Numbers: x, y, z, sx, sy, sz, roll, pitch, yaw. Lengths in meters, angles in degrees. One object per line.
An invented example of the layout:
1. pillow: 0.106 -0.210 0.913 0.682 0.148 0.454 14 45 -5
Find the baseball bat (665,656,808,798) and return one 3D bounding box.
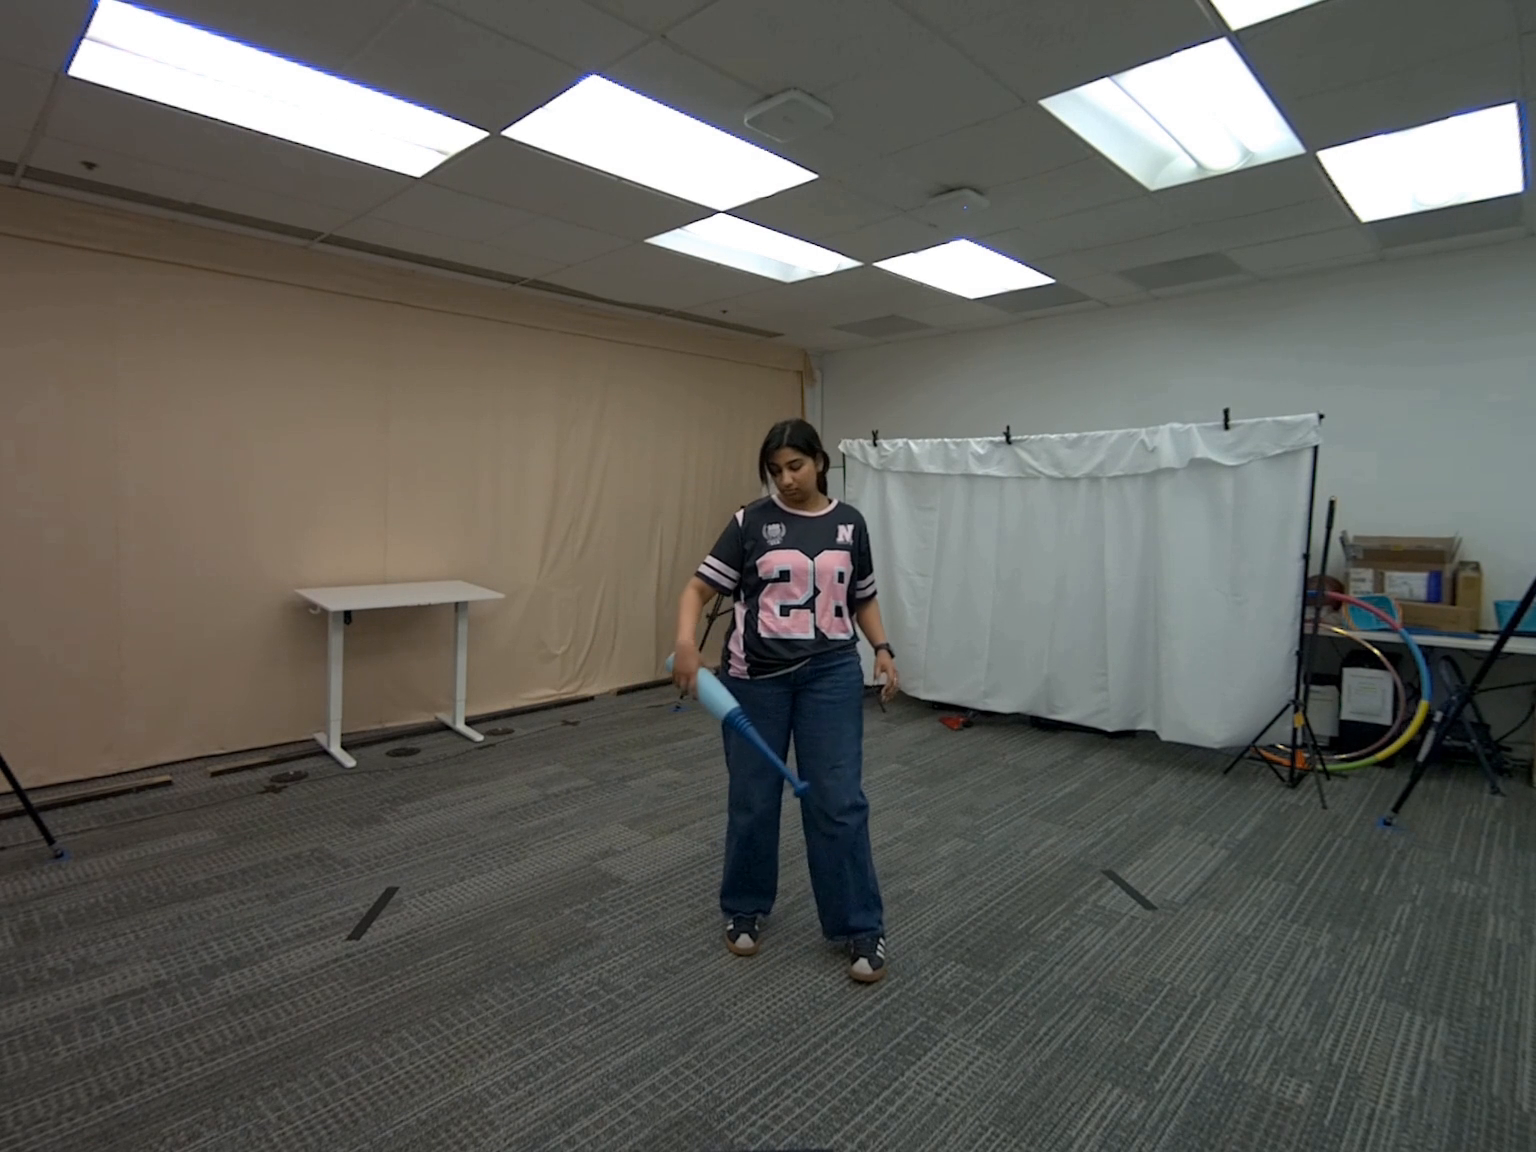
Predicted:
1. baseball bat: -0.078 0.401 2.330 0.559 0.089 0.086 43 26 27
